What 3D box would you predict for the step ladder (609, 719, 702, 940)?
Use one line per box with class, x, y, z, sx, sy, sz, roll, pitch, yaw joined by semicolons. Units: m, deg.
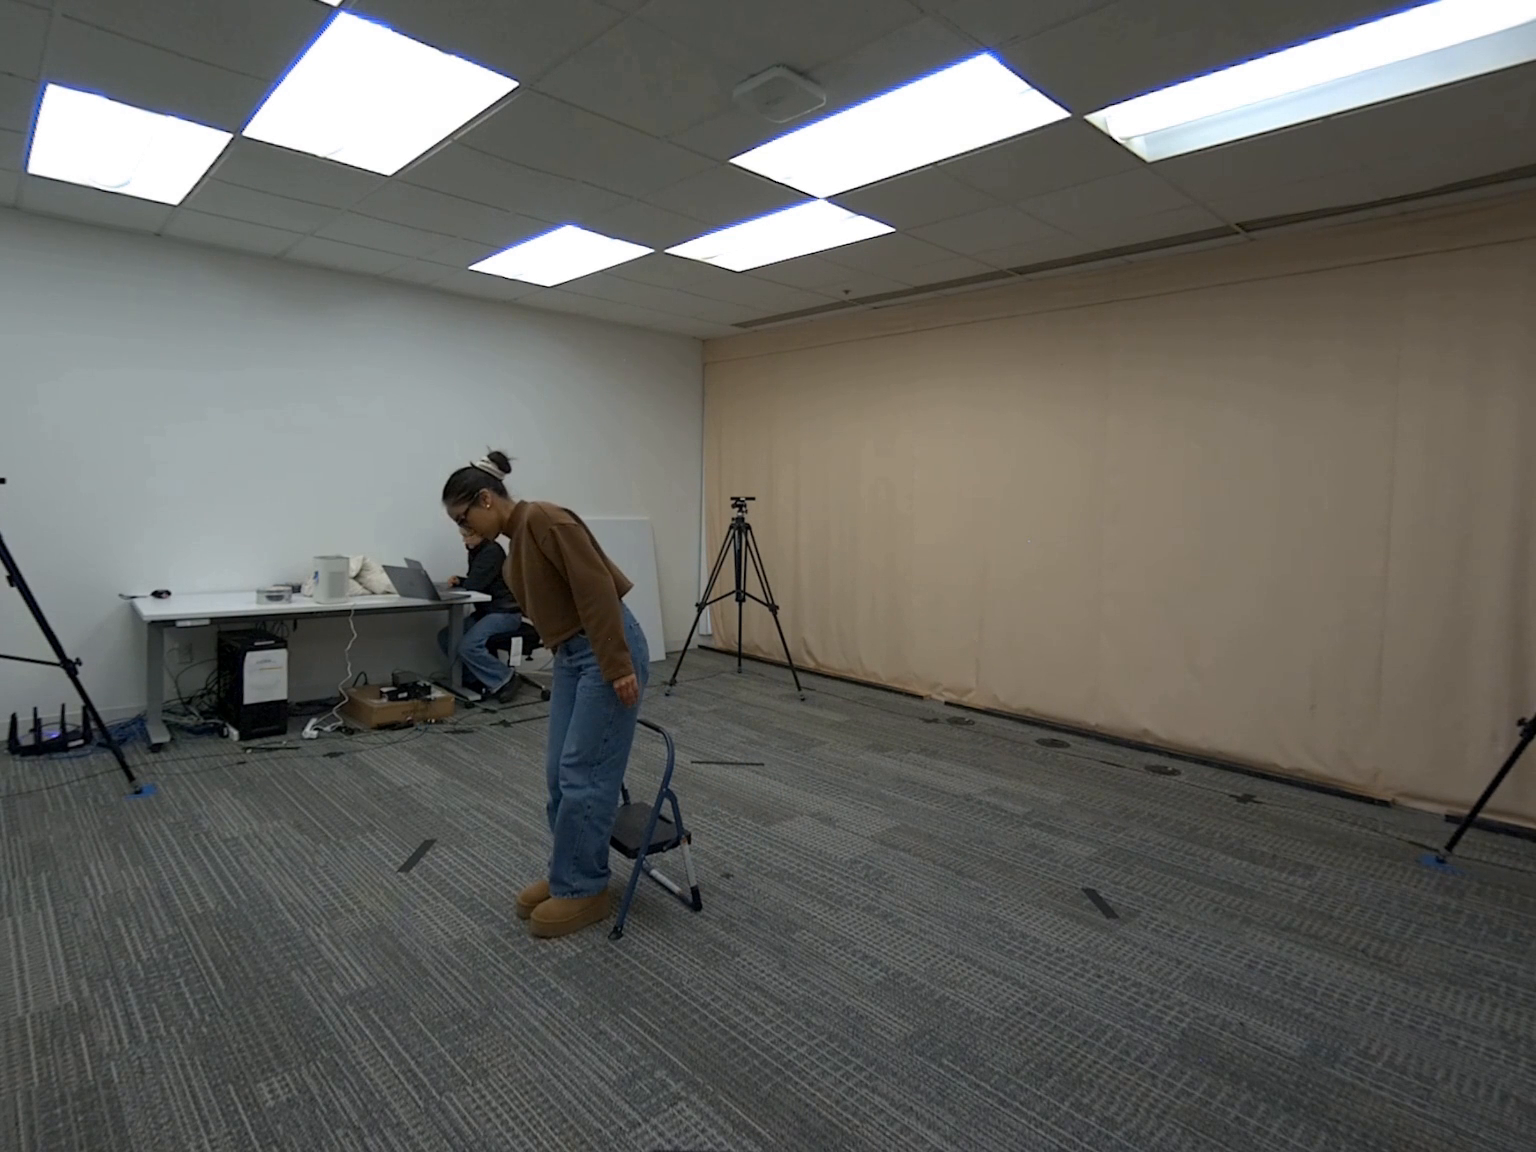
step ladder;-0.473;0.817;2.891;0.341;0.605;0.441;-1;4;-38
